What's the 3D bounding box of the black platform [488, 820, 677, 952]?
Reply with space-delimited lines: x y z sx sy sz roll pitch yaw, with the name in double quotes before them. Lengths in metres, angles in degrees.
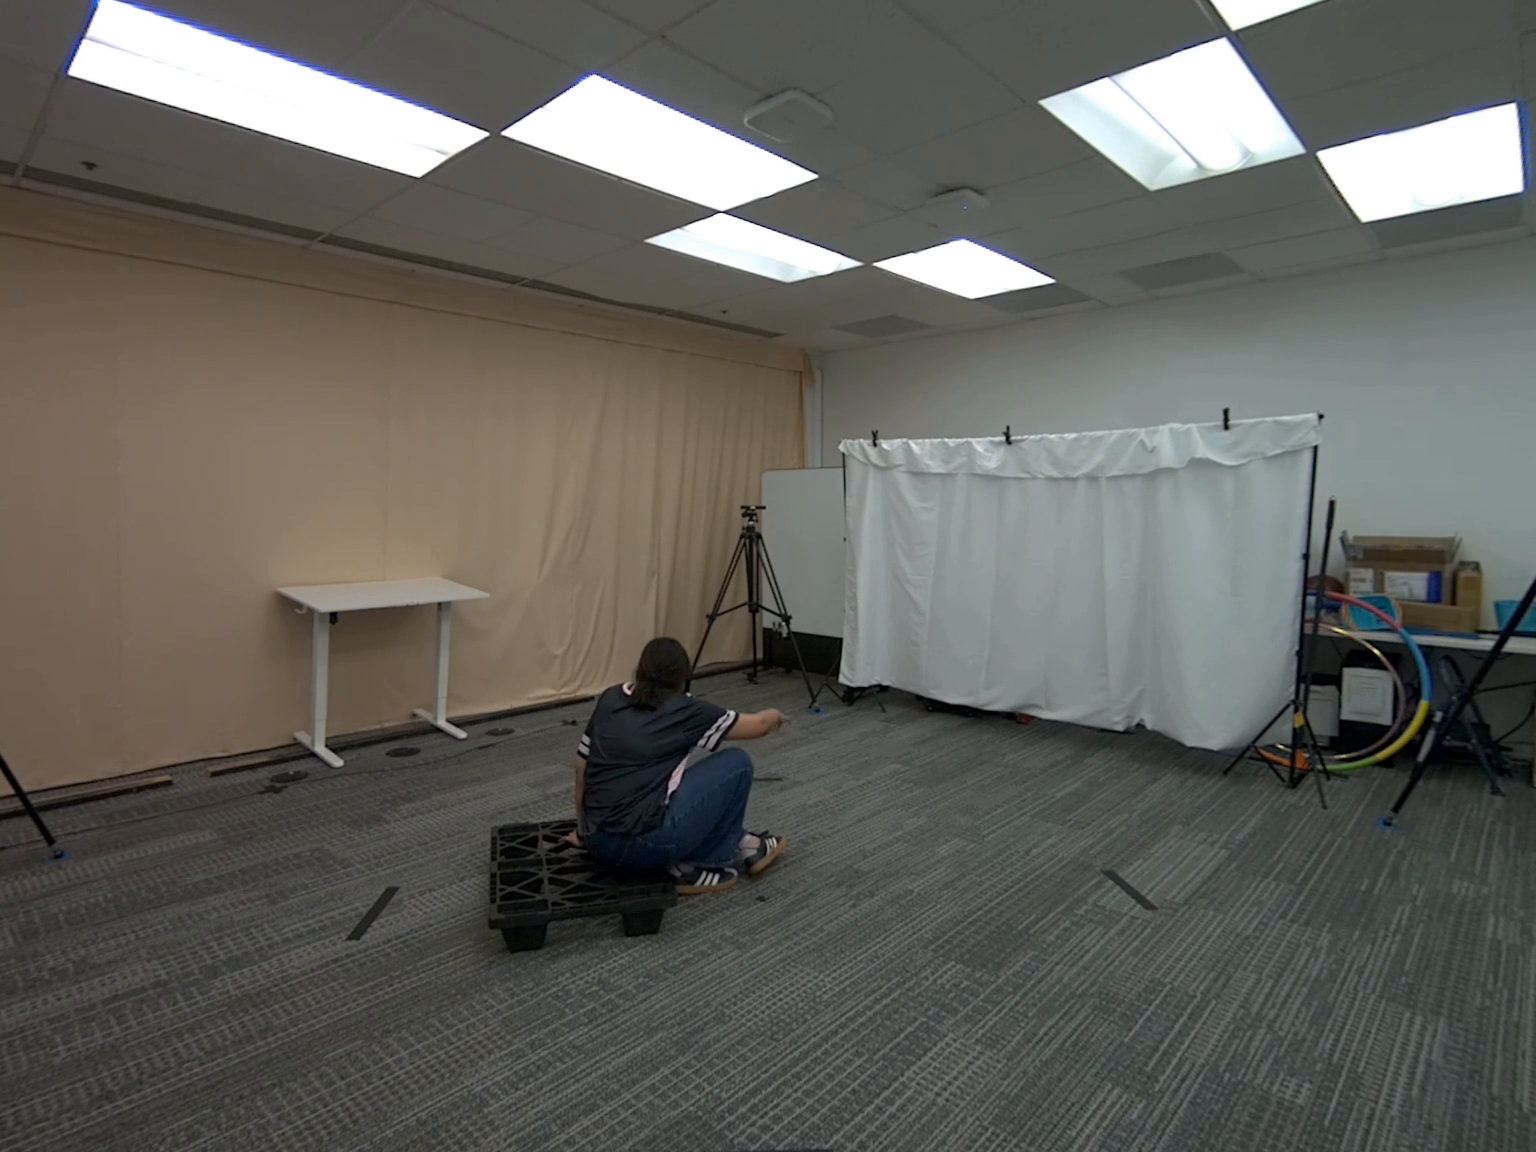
"black platform" -0.694 1.076 3.041 0.596 0.143 0.820 -2 5 -16
